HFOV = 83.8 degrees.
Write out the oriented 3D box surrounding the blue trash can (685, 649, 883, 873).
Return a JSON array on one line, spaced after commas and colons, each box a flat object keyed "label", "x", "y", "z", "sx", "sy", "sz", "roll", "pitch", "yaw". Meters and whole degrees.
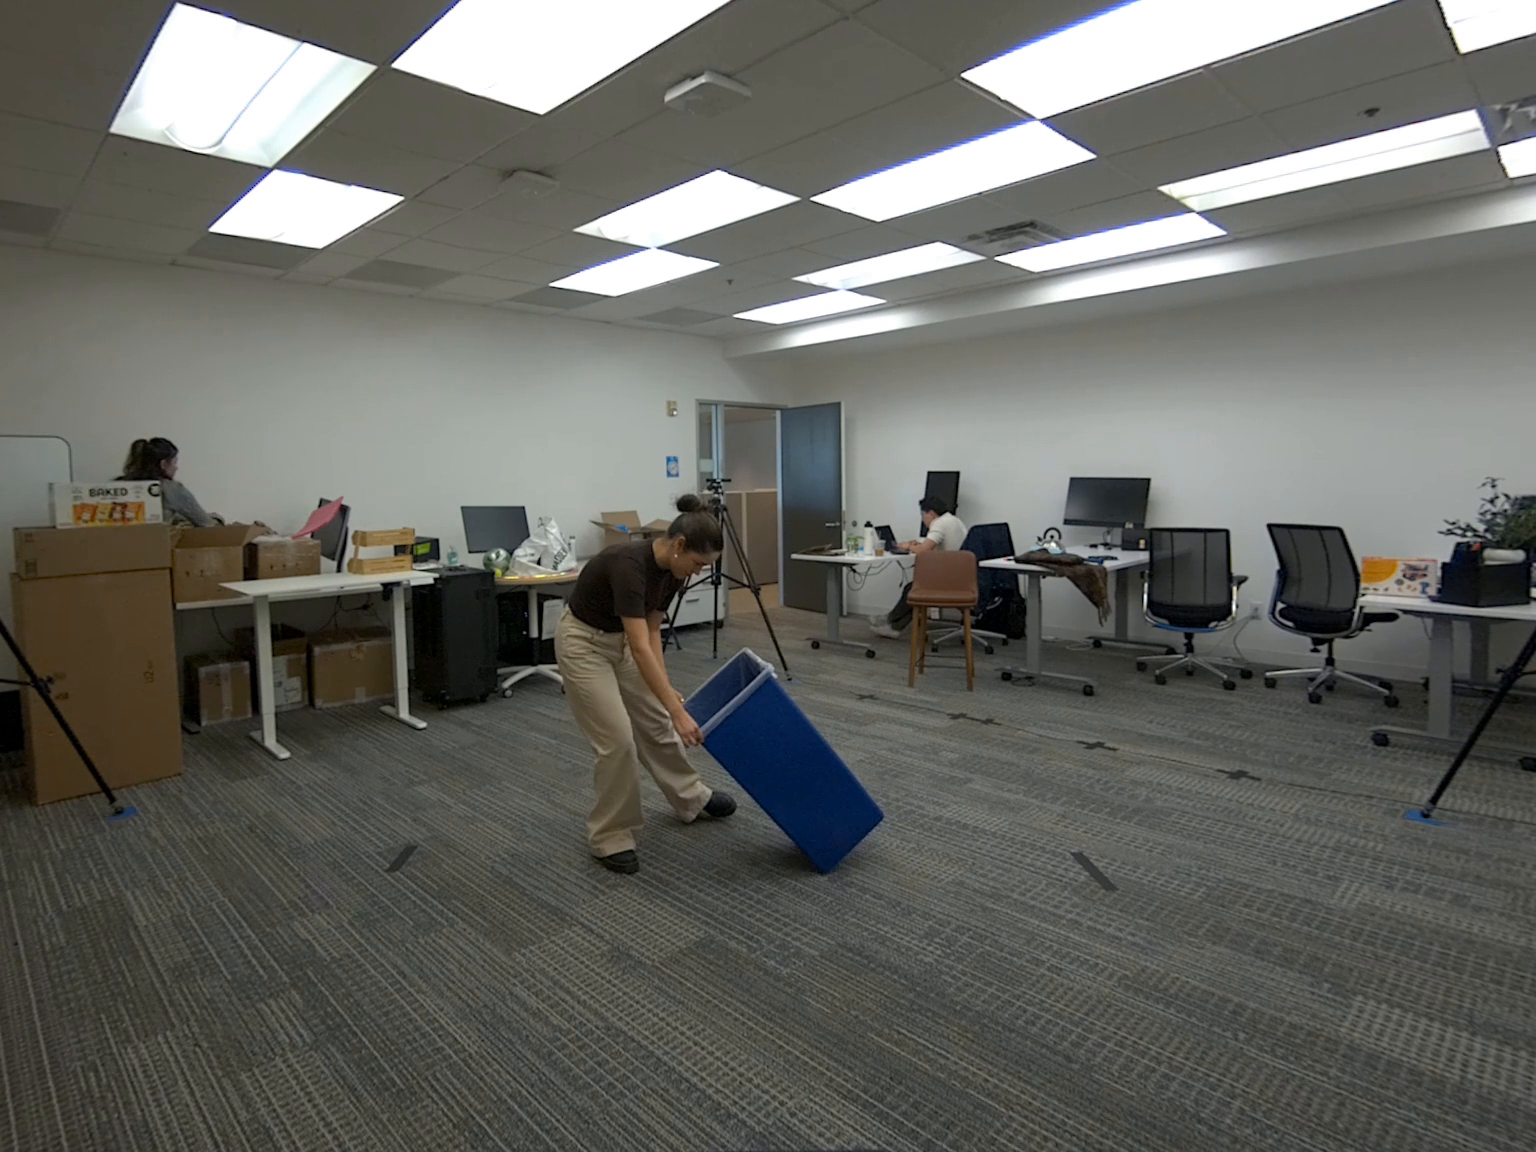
[{"label": "blue trash can", "x": 0.051, "y": 0.674, "z": 3.092, "sx": 0.373, "sy": 0.704, "sz": 0.384, "roll": -41, "pitch": 11, "yaw": -8}]
